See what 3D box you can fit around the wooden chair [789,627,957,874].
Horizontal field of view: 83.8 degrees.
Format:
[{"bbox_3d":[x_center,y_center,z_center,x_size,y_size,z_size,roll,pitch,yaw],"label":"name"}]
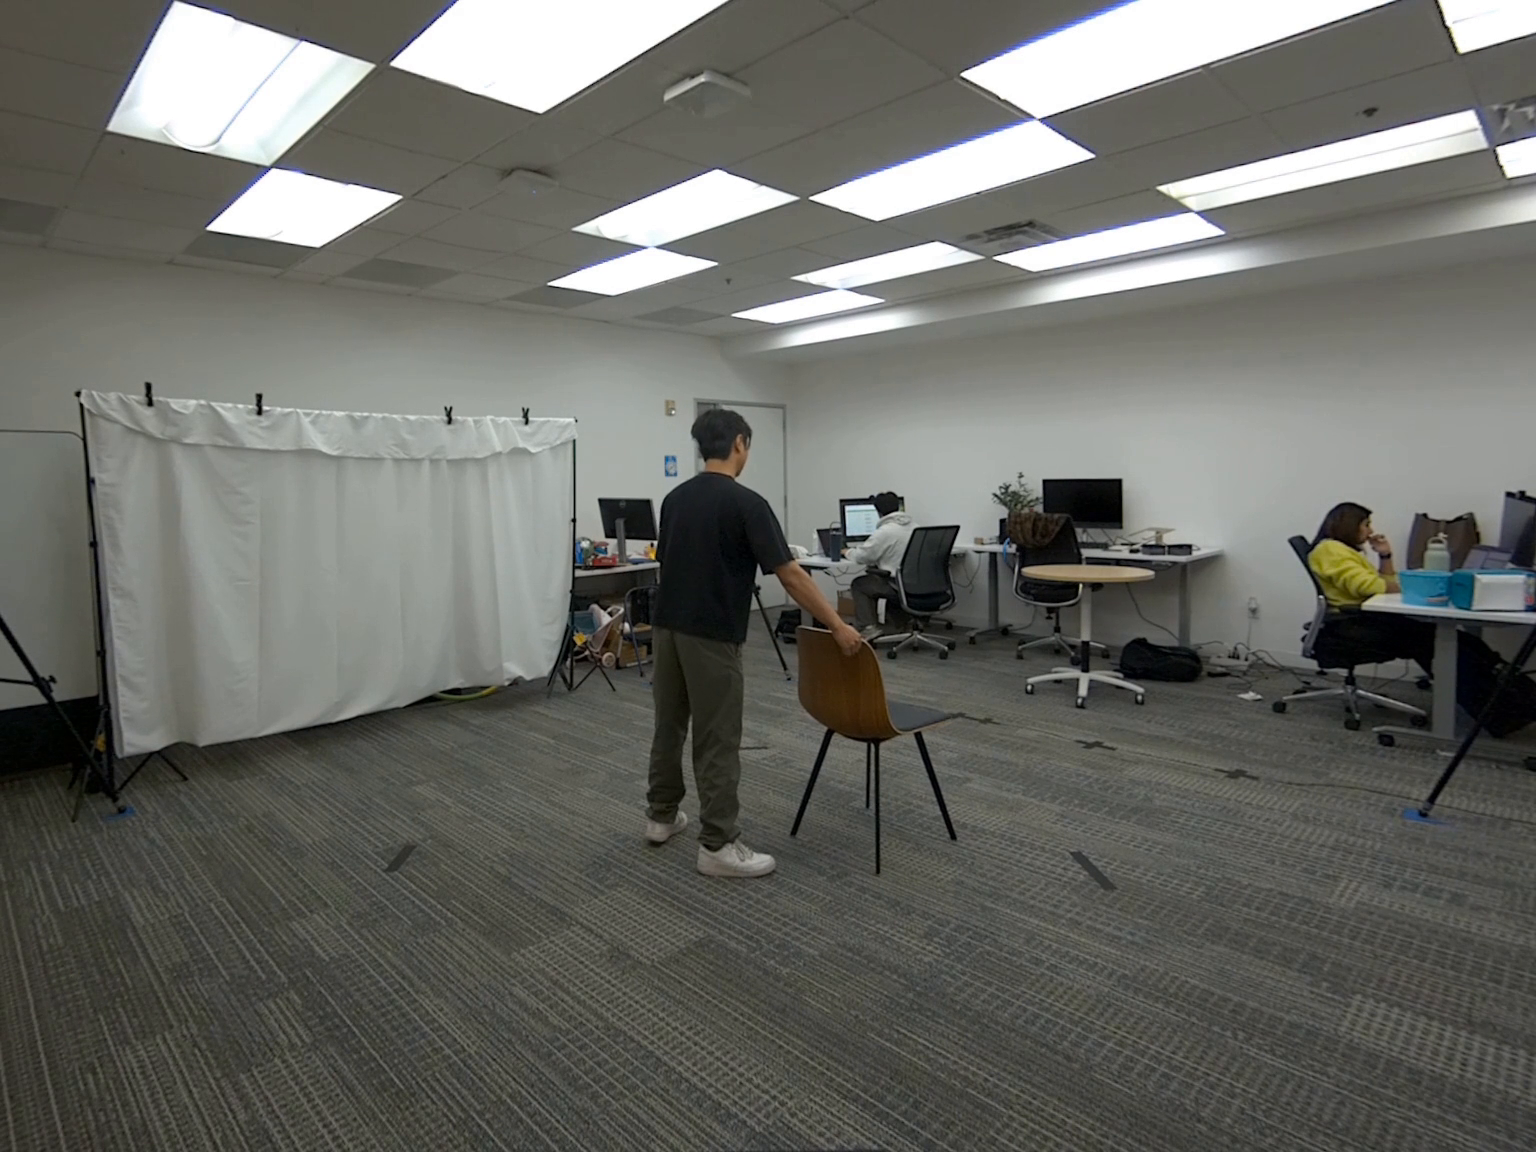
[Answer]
[{"bbox_3d":[0.403,0.582,3.277,0.511,0.872,0.492,-10,9,-40],"label":"wooden chair"}]
